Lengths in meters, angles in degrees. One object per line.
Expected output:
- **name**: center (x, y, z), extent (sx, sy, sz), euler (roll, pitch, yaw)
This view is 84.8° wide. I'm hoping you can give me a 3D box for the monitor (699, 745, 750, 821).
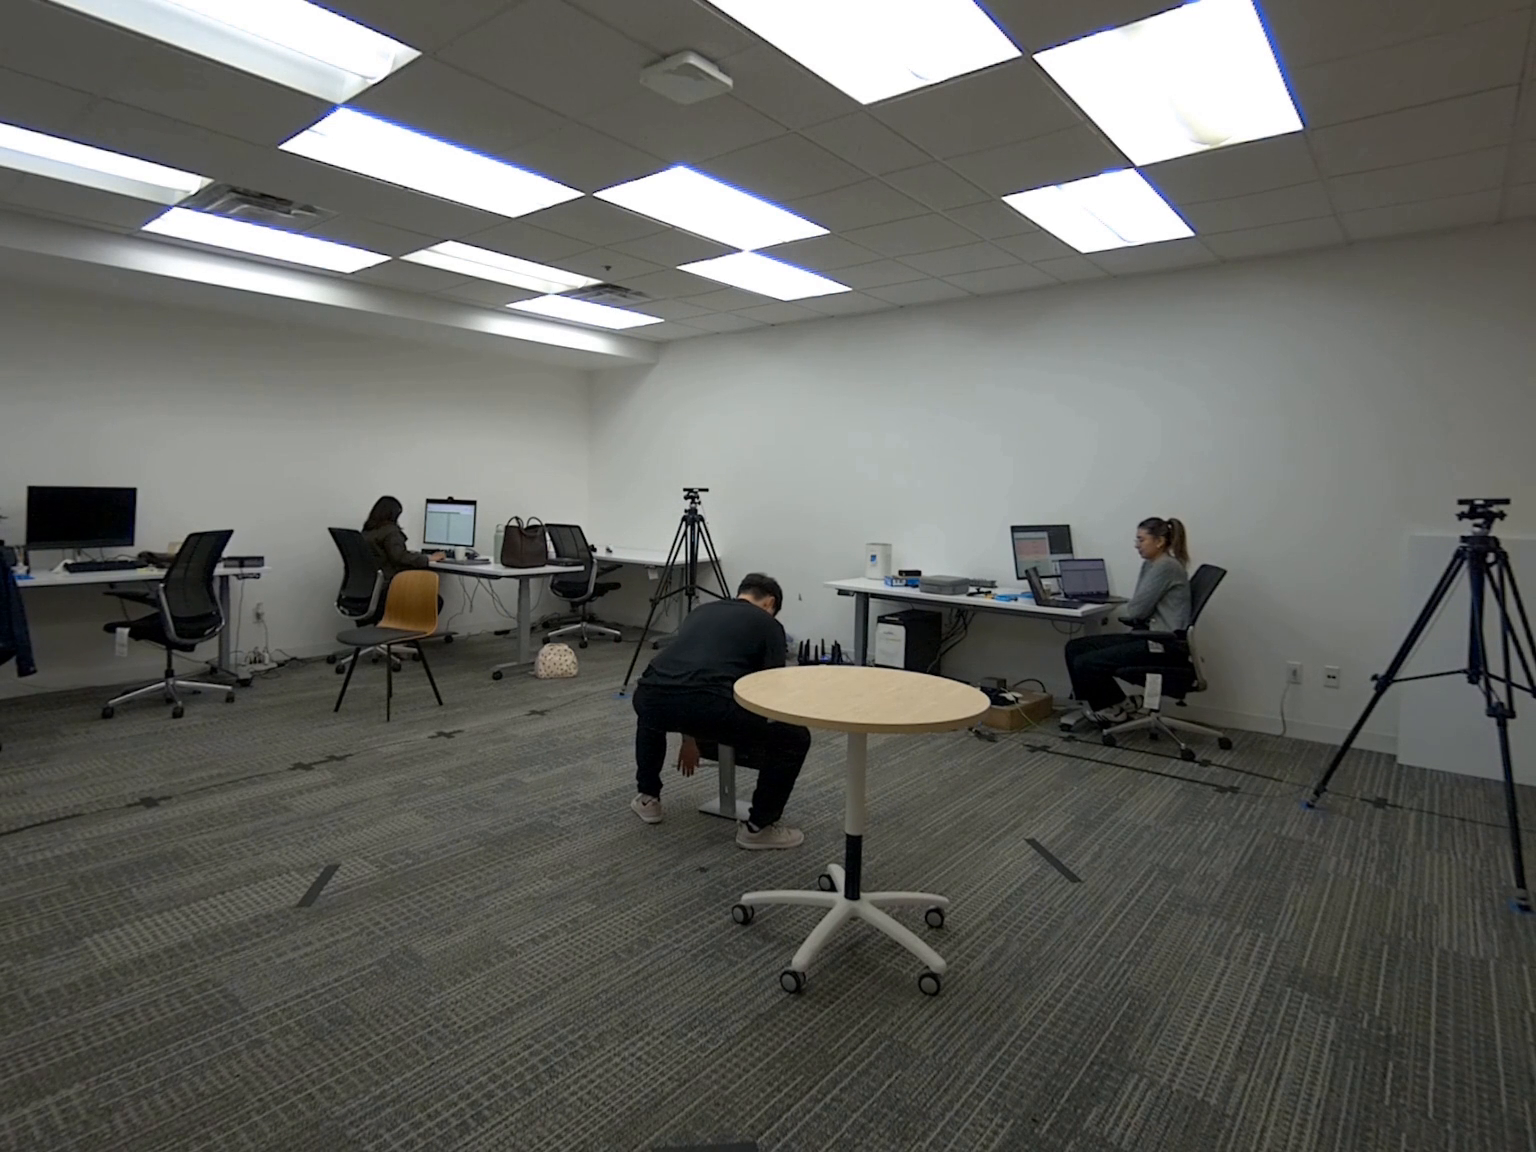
- **monitor**: center (-0.158, 0.756, 3.681), extent (0.554, 0.522, 0.182), euler (4, 0, 27)
